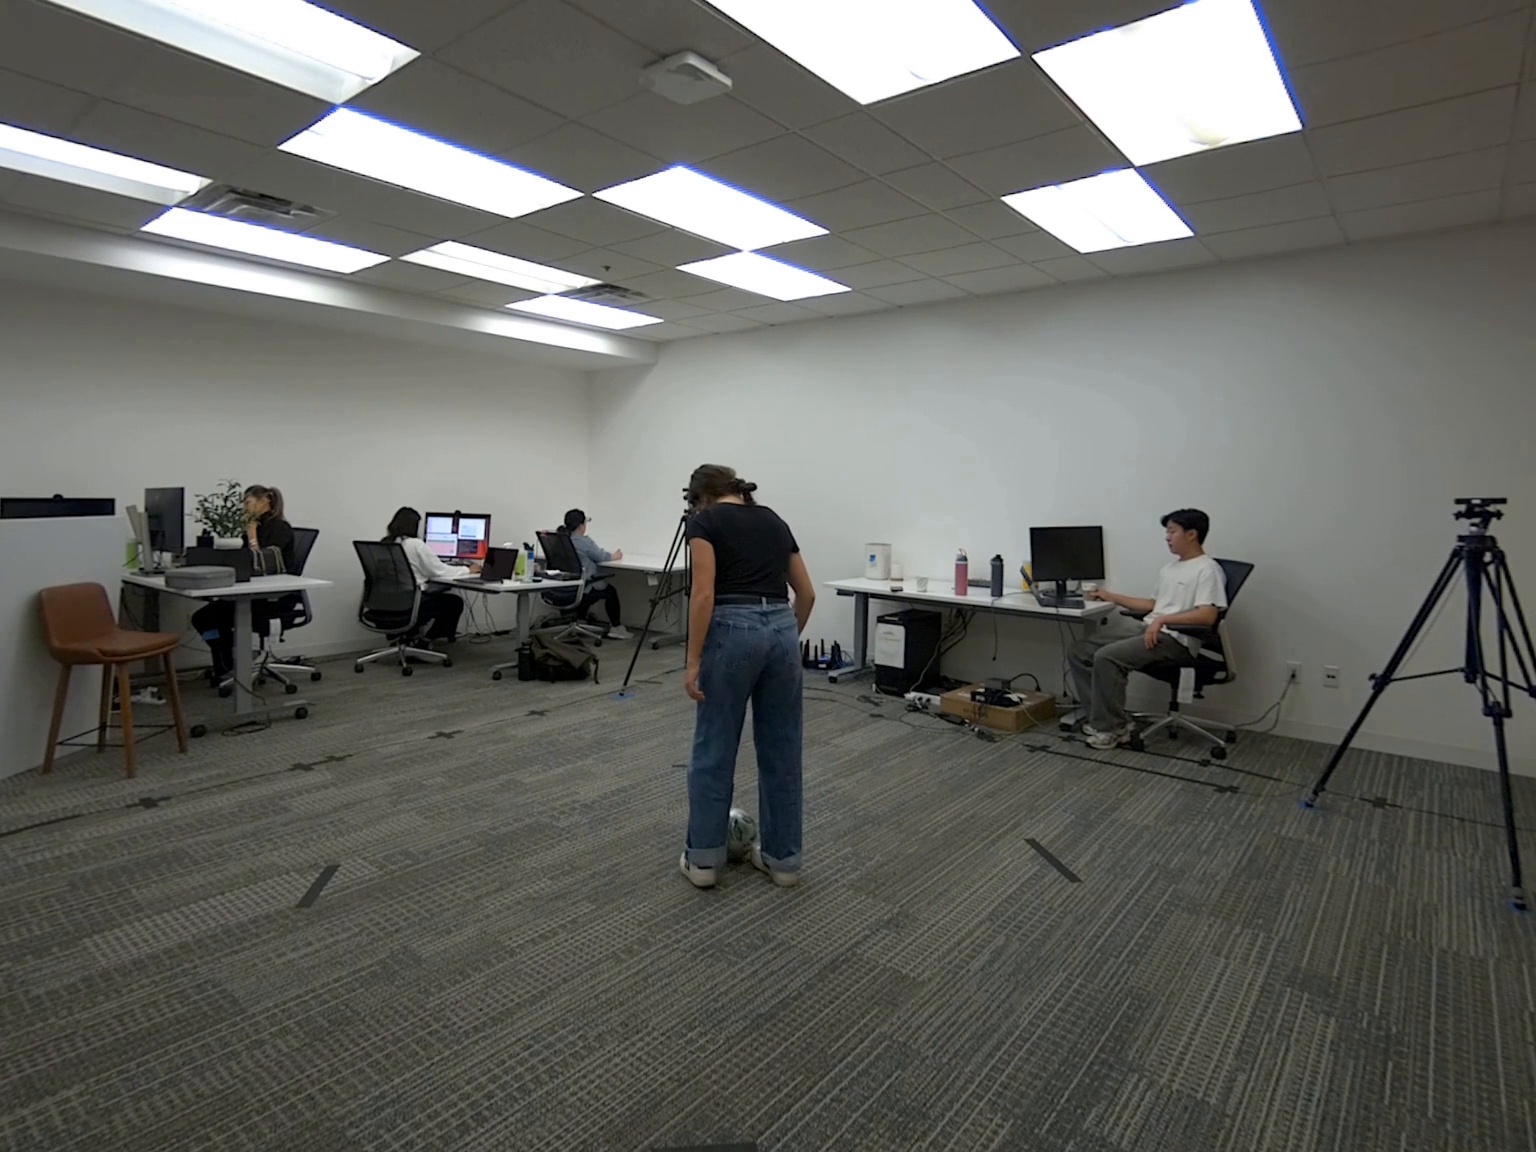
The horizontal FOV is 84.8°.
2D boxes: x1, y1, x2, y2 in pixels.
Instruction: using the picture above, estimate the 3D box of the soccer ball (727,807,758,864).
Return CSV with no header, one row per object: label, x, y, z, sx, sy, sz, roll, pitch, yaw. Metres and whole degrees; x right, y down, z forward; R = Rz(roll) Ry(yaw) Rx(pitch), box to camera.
soccer ball,-0.143,0.963,3.199,0.187,0.187,0.188,1,4,-2
